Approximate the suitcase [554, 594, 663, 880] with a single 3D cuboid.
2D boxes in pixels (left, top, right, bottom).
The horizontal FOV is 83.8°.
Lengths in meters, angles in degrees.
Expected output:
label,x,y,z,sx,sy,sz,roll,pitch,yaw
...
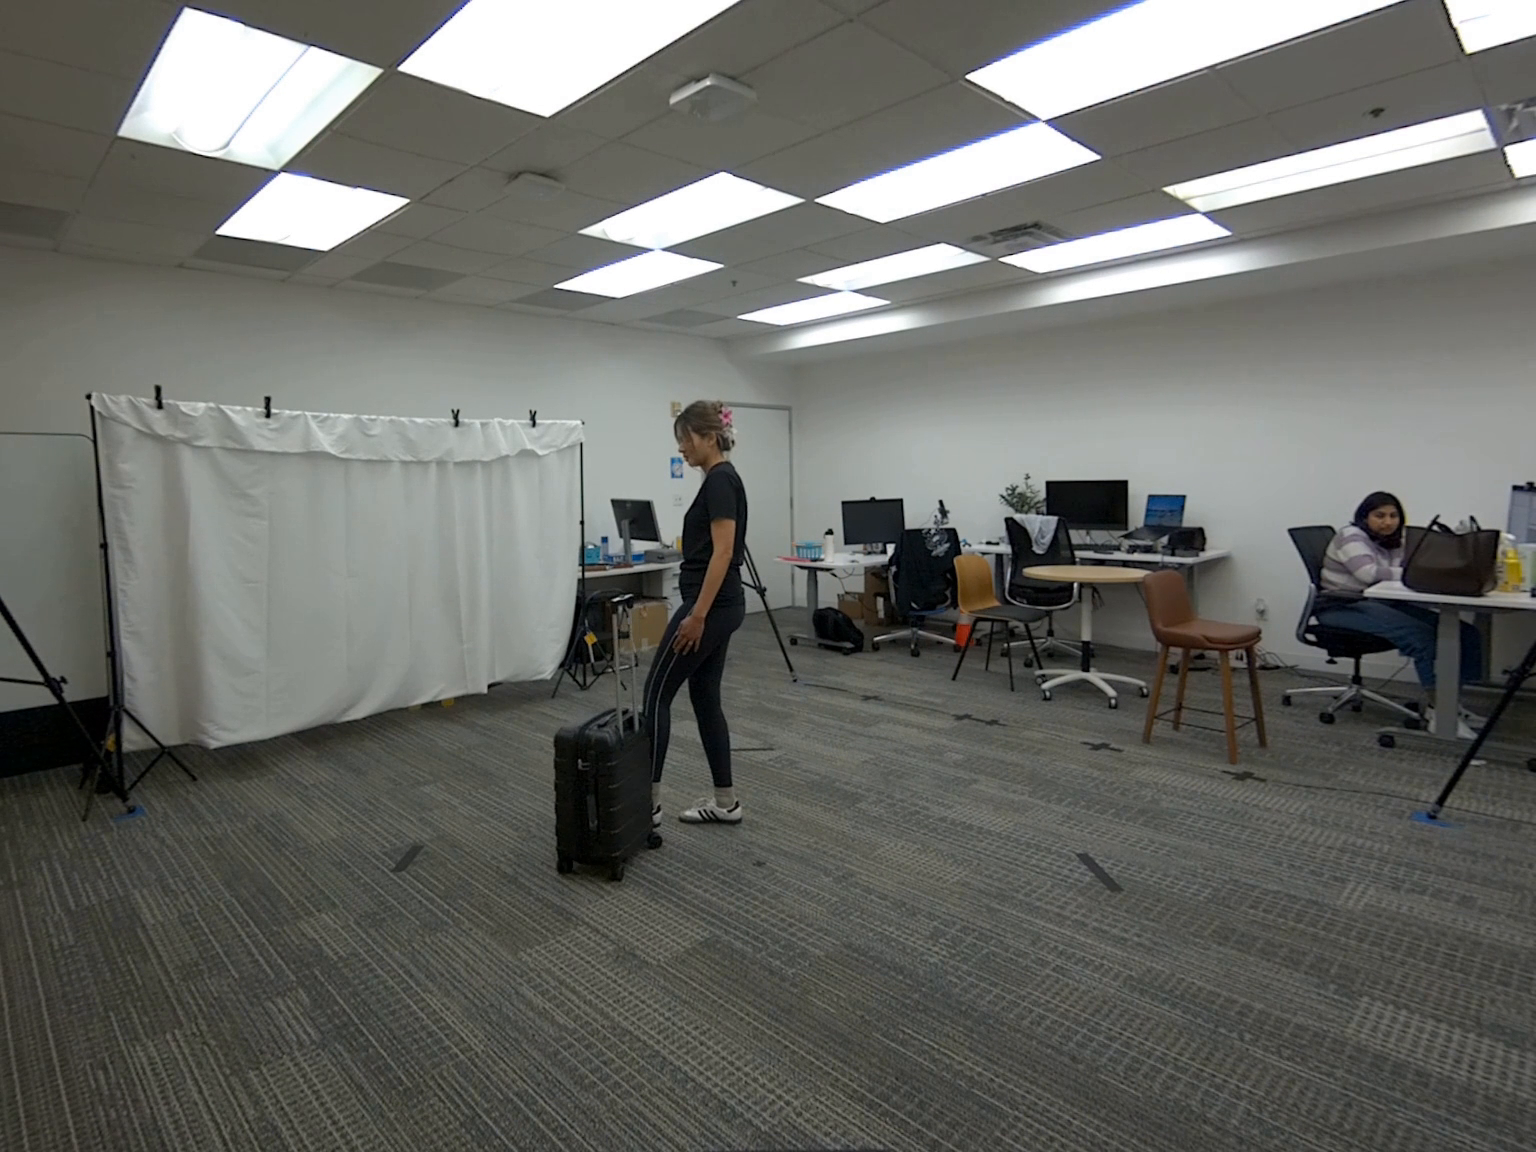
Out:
label,x,y,z,sx,sy,sz,roll,pitch,yaw
suitcase,-0.617,0.577,3.123,0.261,0.975,0.379,-2,4,17
